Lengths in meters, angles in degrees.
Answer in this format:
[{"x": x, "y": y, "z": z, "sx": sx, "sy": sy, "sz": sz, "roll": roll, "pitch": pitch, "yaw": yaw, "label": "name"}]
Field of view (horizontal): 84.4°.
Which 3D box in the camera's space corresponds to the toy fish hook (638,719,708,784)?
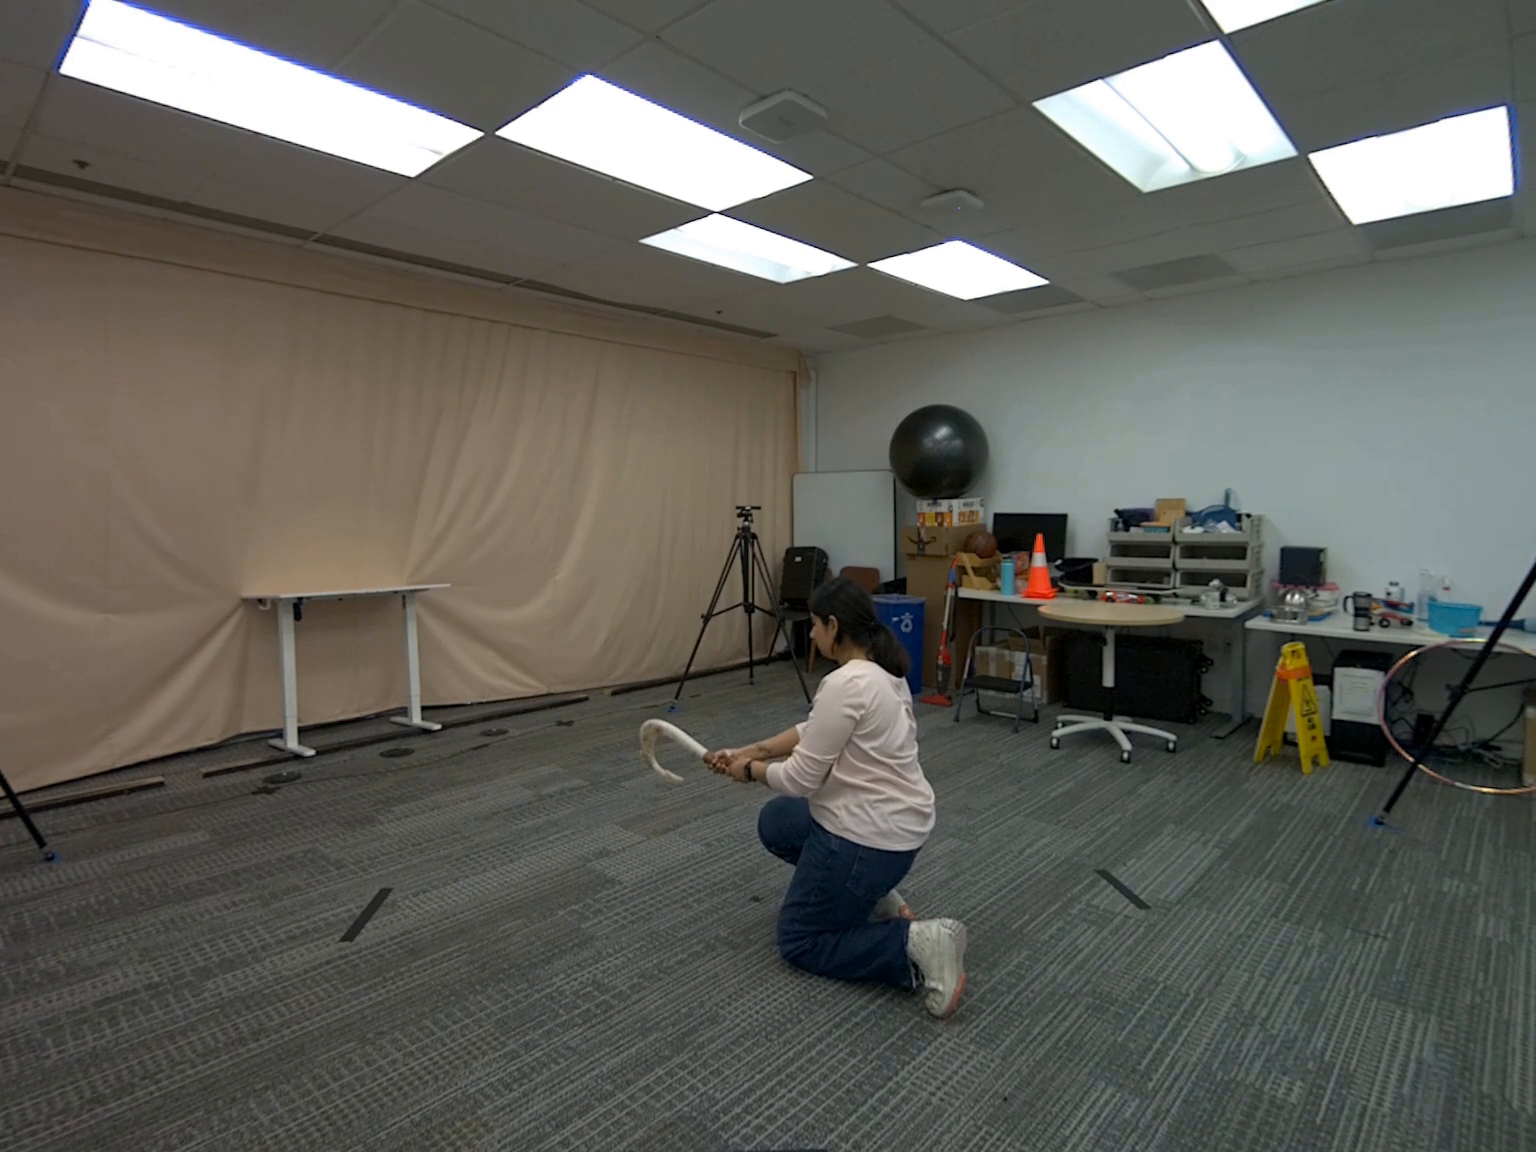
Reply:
[{"x": -0.243, "y": 0.623, "z": 2.878, "sx": 0.524, "sy": 0.222, "sz": 0.047, "roll": 14, "pitch": 23, "yaw": 36, "label": "toy fish hook"}]
